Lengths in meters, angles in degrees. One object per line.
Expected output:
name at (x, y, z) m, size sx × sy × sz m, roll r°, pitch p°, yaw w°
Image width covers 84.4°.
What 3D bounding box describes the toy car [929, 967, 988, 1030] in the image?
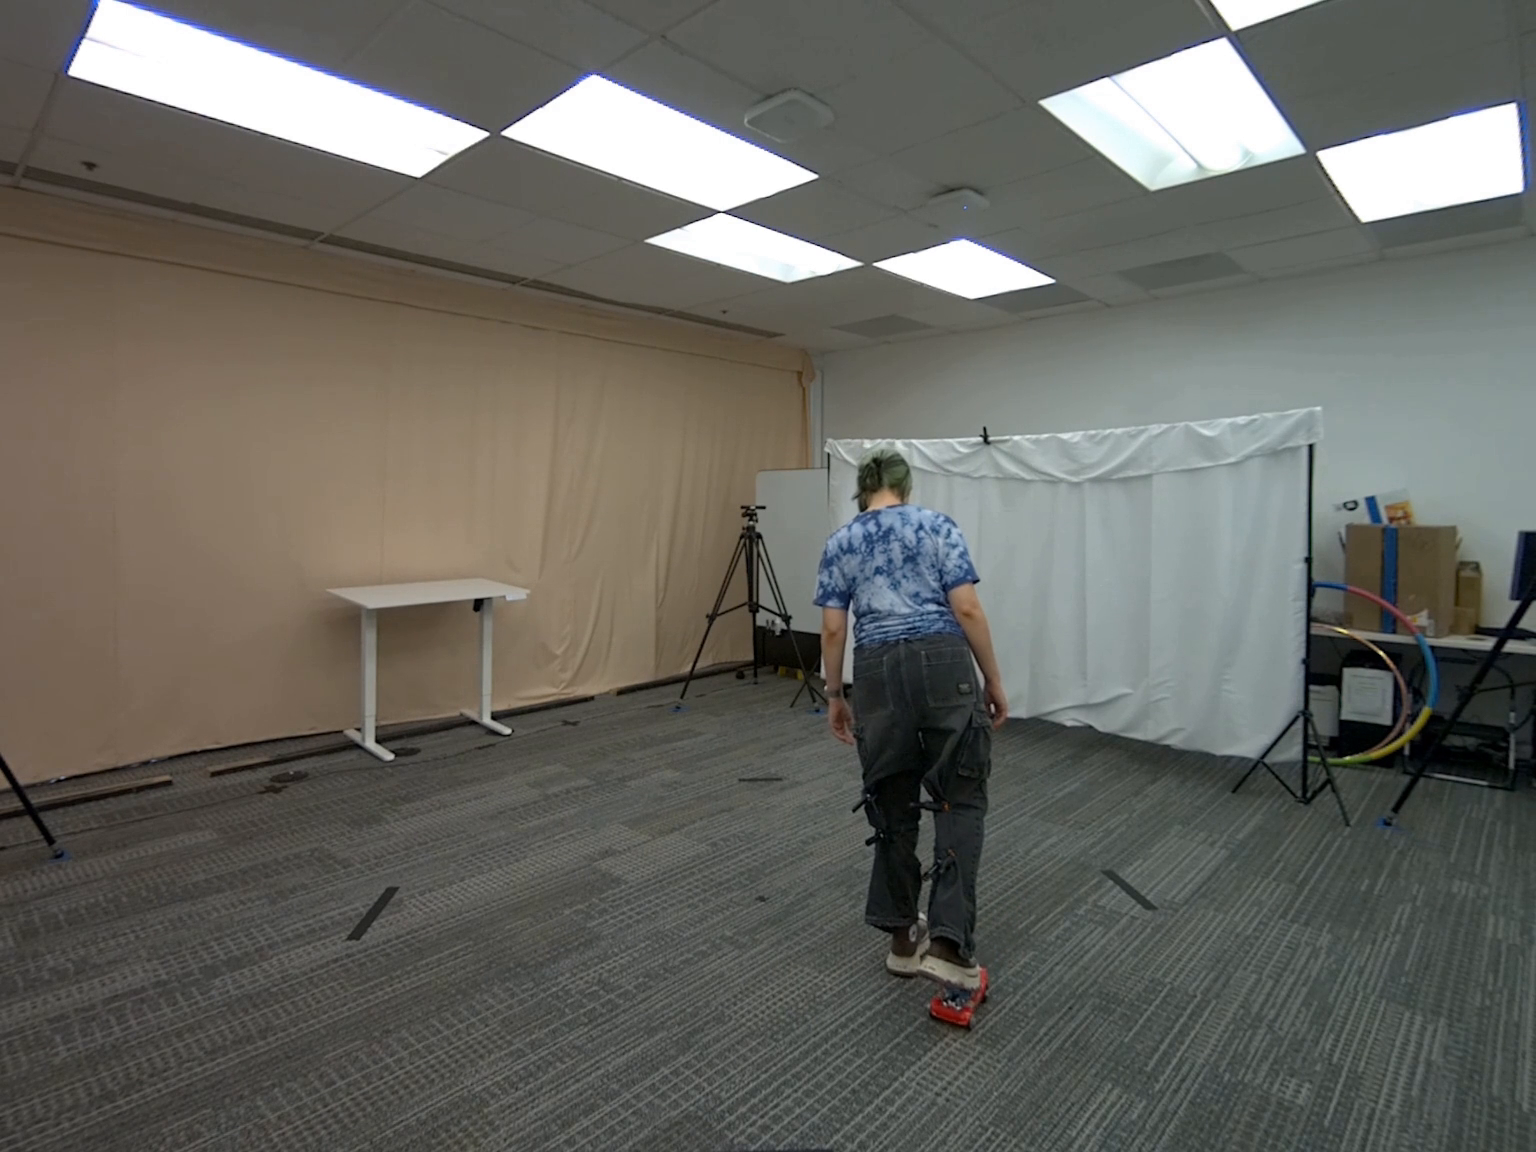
toy car at (0.549, 1.167, 2.345) m, size 0.134 × 0.082 × 0.250 m, roll 3°, pitch 17°, yaw 29°
